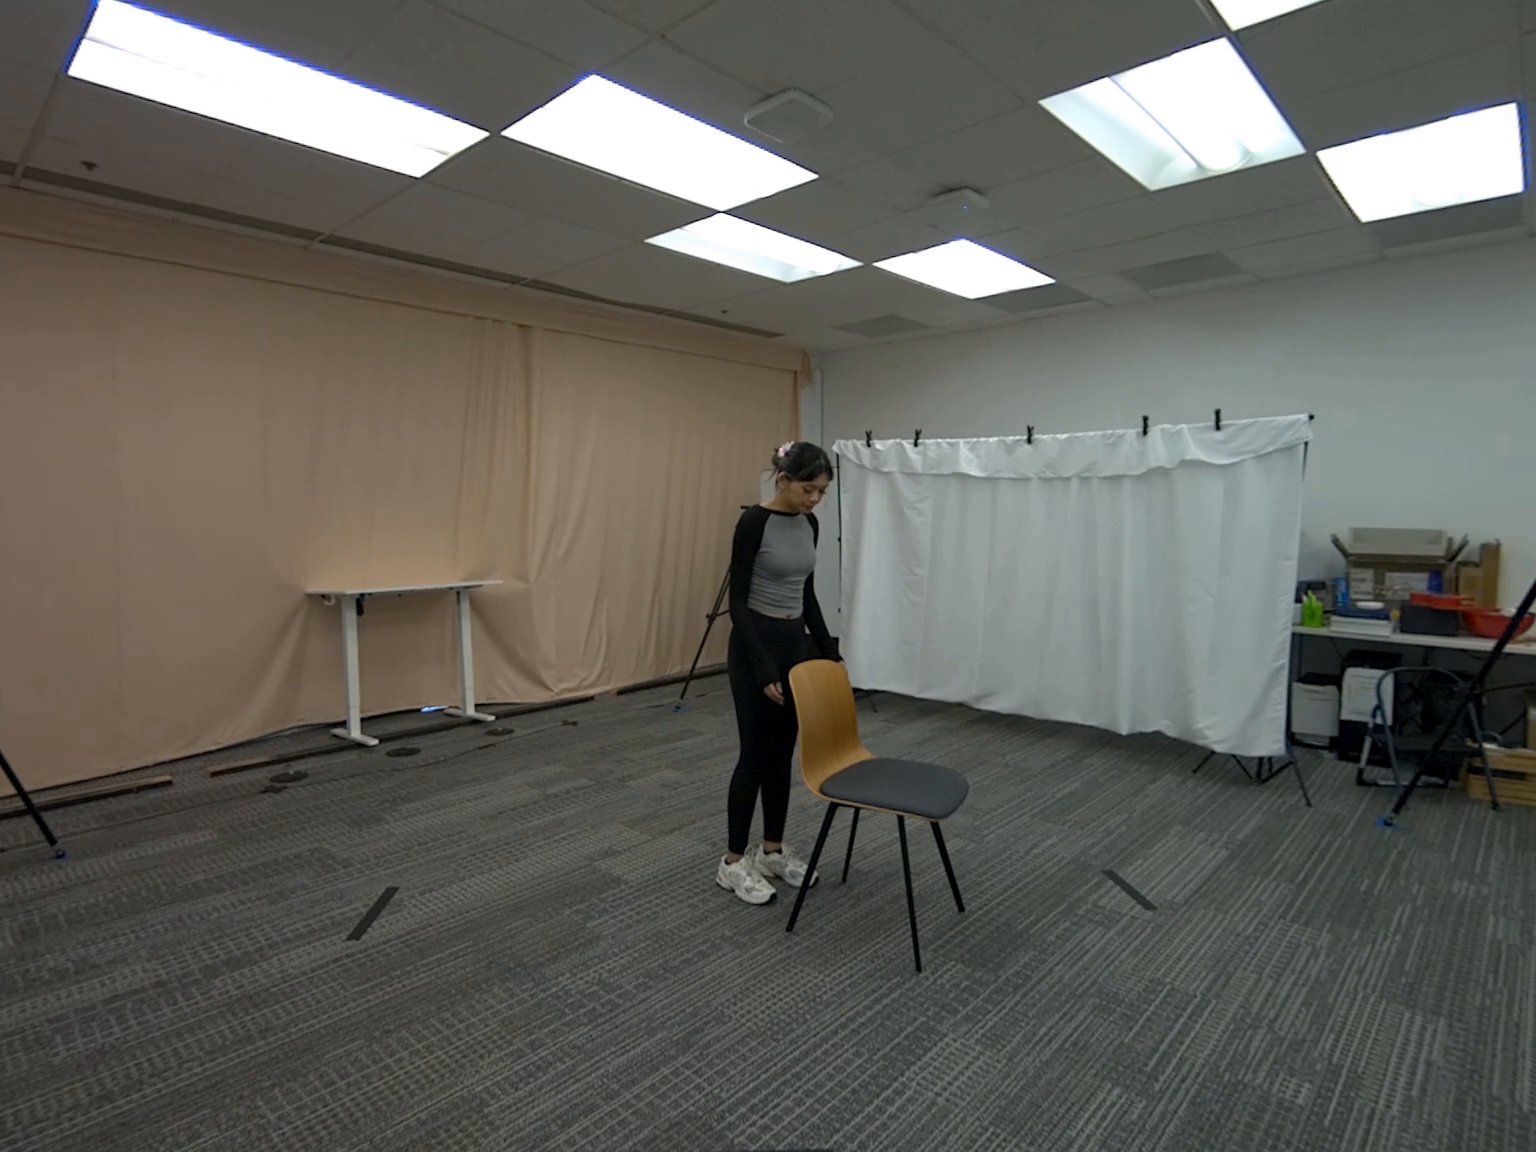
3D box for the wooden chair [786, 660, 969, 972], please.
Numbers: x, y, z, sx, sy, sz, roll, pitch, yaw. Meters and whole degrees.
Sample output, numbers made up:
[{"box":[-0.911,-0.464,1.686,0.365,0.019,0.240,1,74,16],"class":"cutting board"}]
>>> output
[{"box":[0.378,0.730,2.785,0.538,0.877,0.465,-4,0,31],"class":"wooden chair"}]
